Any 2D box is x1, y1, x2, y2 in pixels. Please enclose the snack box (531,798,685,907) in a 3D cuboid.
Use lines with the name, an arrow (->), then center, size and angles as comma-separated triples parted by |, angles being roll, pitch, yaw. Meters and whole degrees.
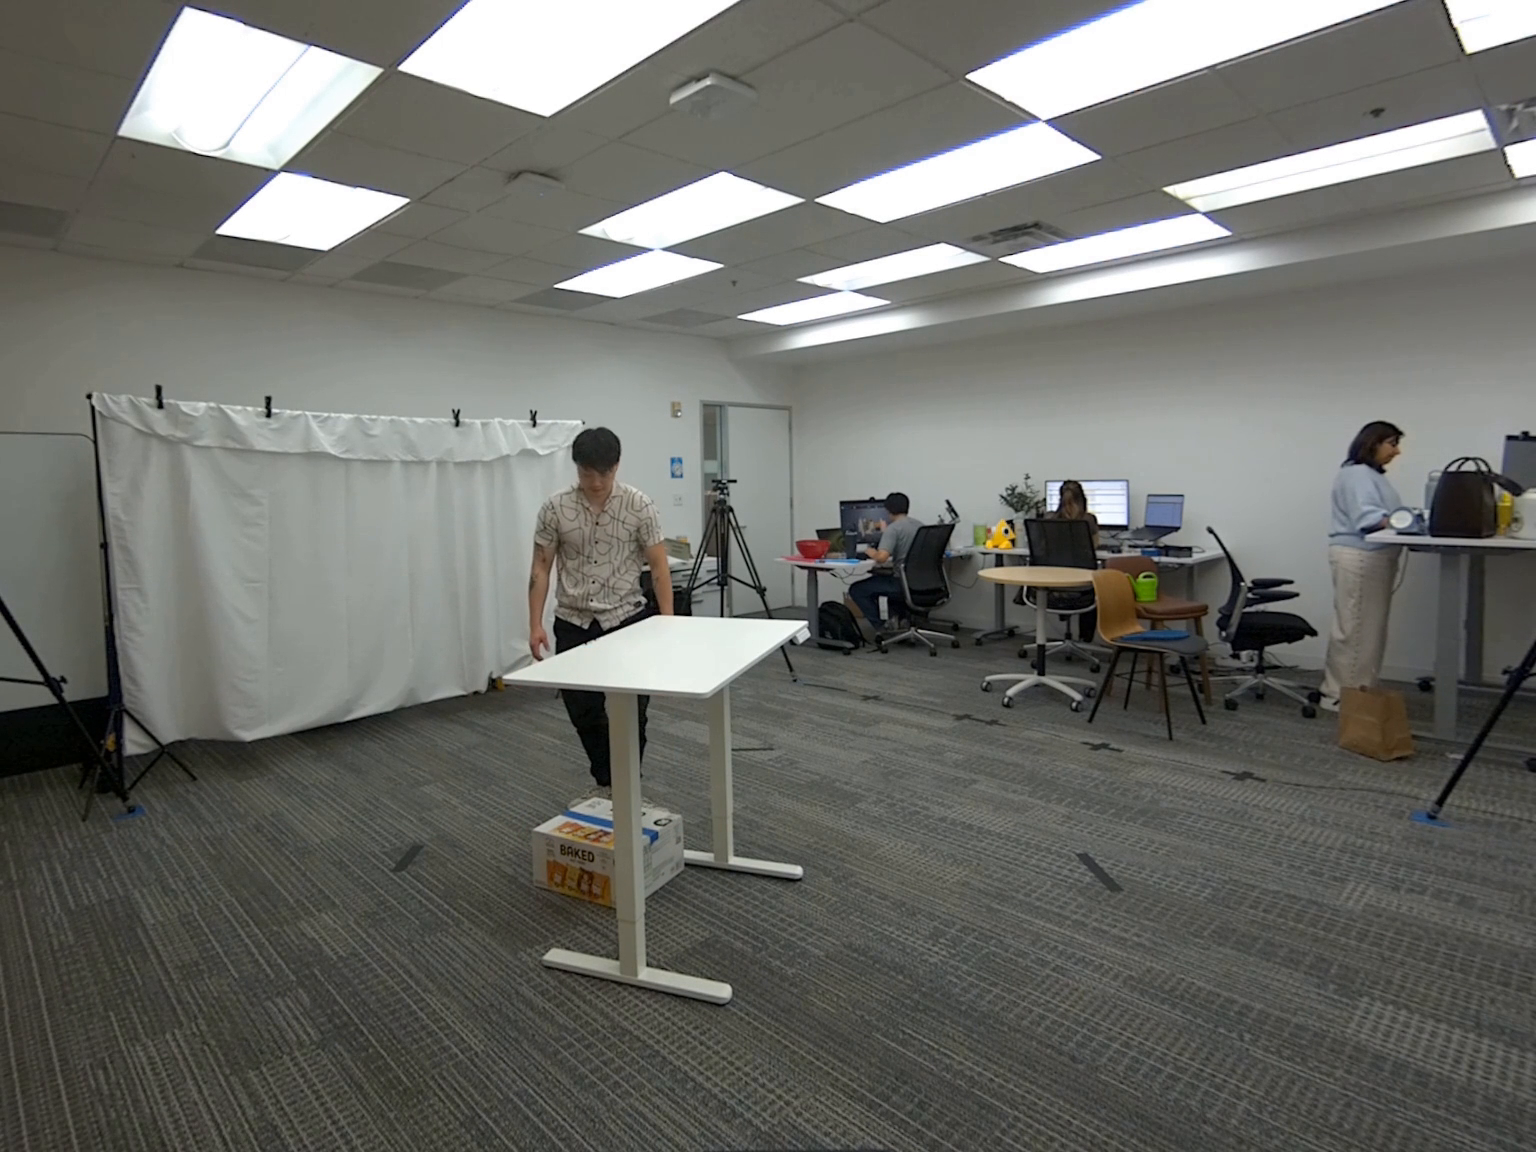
snack box -> -0.556, 0.966, 3.004 | 0.415, 0.205, 0.333 | 2, 7, 28
